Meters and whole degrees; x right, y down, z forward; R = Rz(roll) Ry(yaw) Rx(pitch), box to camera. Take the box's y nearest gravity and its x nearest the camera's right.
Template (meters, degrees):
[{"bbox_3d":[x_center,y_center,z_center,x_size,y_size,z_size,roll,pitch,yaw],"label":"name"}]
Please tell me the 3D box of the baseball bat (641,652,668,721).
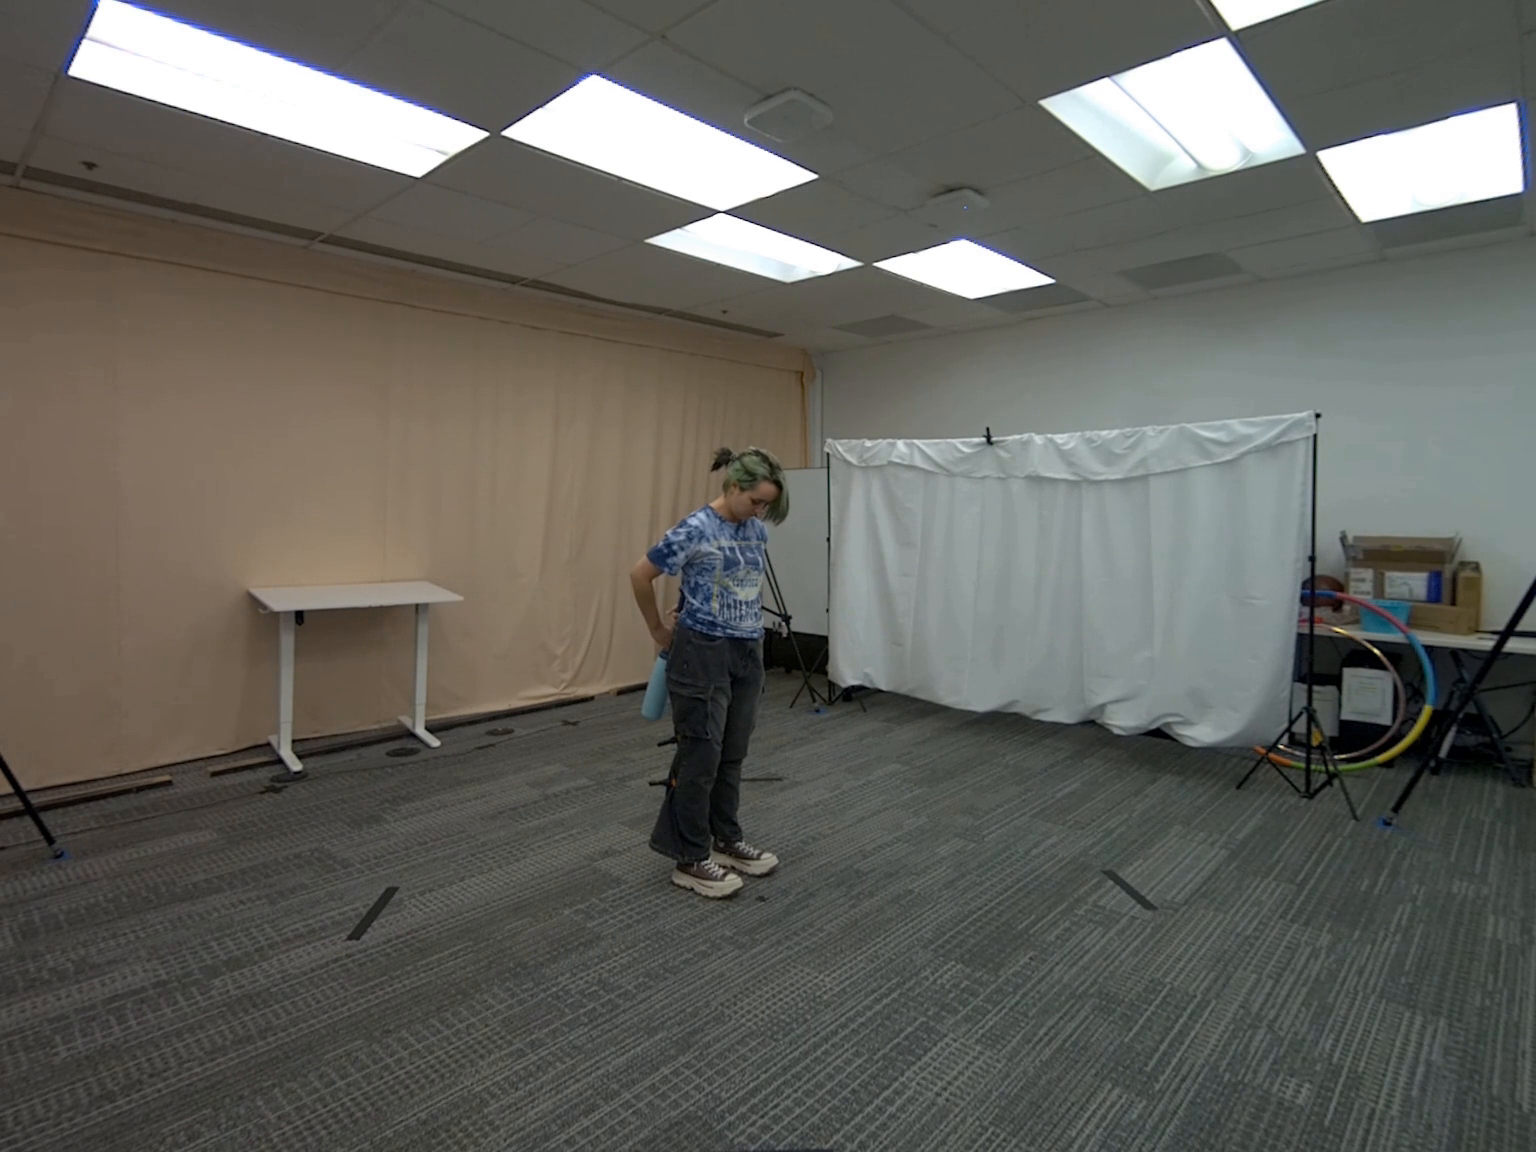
[{"bbox_3d":[-0.379,0.307,3.265,0.088,0.541,0.090,17,10,-5],"label":"baseball bat"}]
